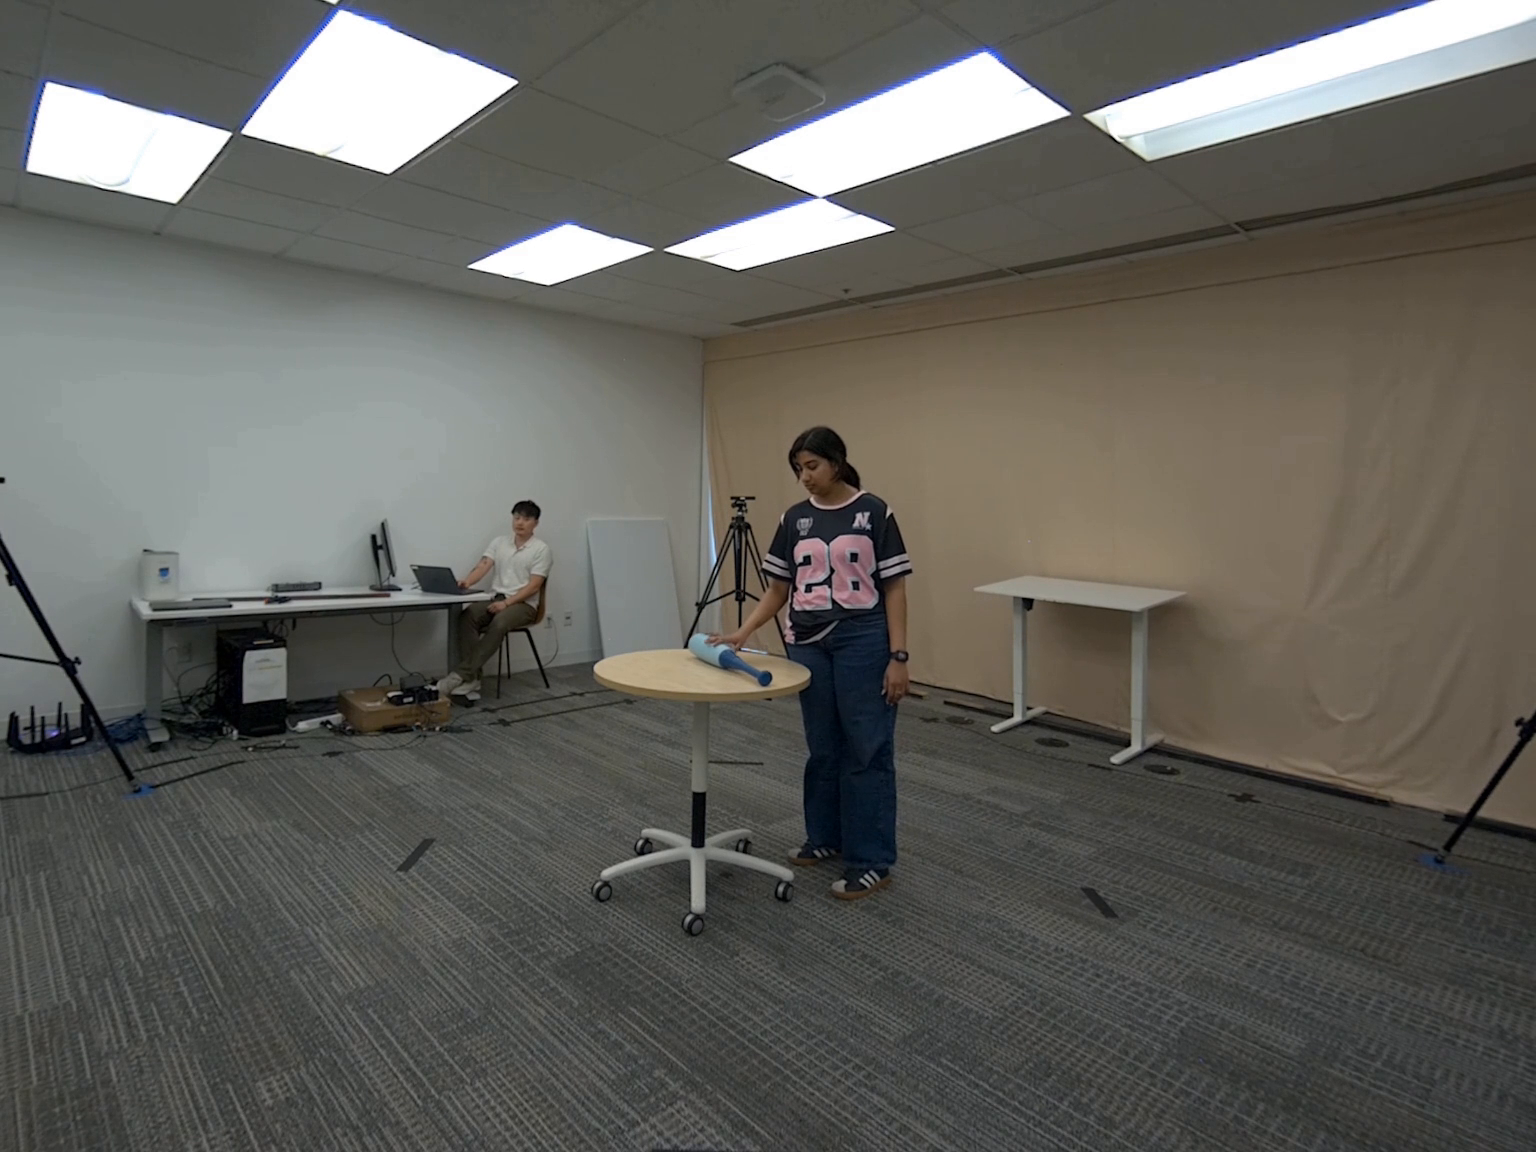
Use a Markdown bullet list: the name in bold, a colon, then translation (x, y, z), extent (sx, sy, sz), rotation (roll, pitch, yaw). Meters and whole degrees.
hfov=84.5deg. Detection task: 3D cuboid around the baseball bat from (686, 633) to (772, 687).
- **baseball bat**: translation (-0.143, 0.297, 2.957), extent (0.087, 0.088, 0.556), rotation (-1, 8, -28)
